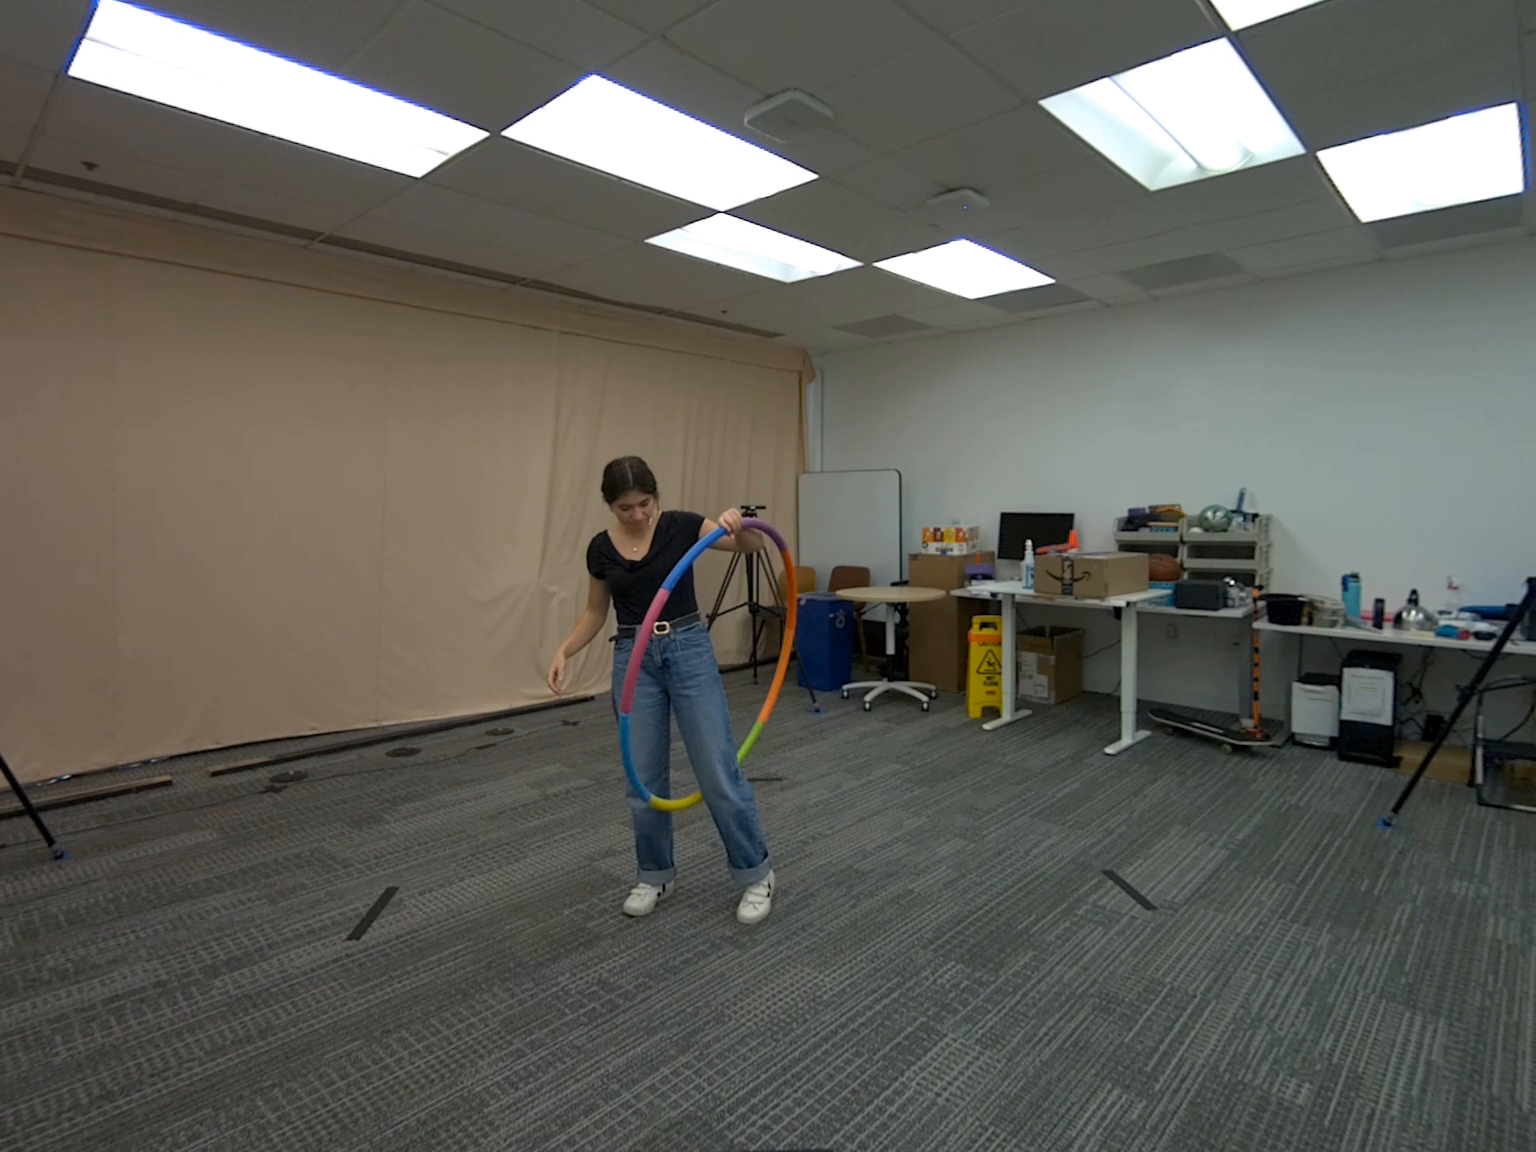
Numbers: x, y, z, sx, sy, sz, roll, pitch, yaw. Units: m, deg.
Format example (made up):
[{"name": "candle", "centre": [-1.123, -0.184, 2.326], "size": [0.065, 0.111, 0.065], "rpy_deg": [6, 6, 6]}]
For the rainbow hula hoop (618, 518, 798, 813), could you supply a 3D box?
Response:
[{"name": "rainbow hula hoop", "centre": [-0.154, 0.285, 2.779], "size": [0.036, 0.974, 0.952], "rpy_deg": [16, 11, 29]}]
